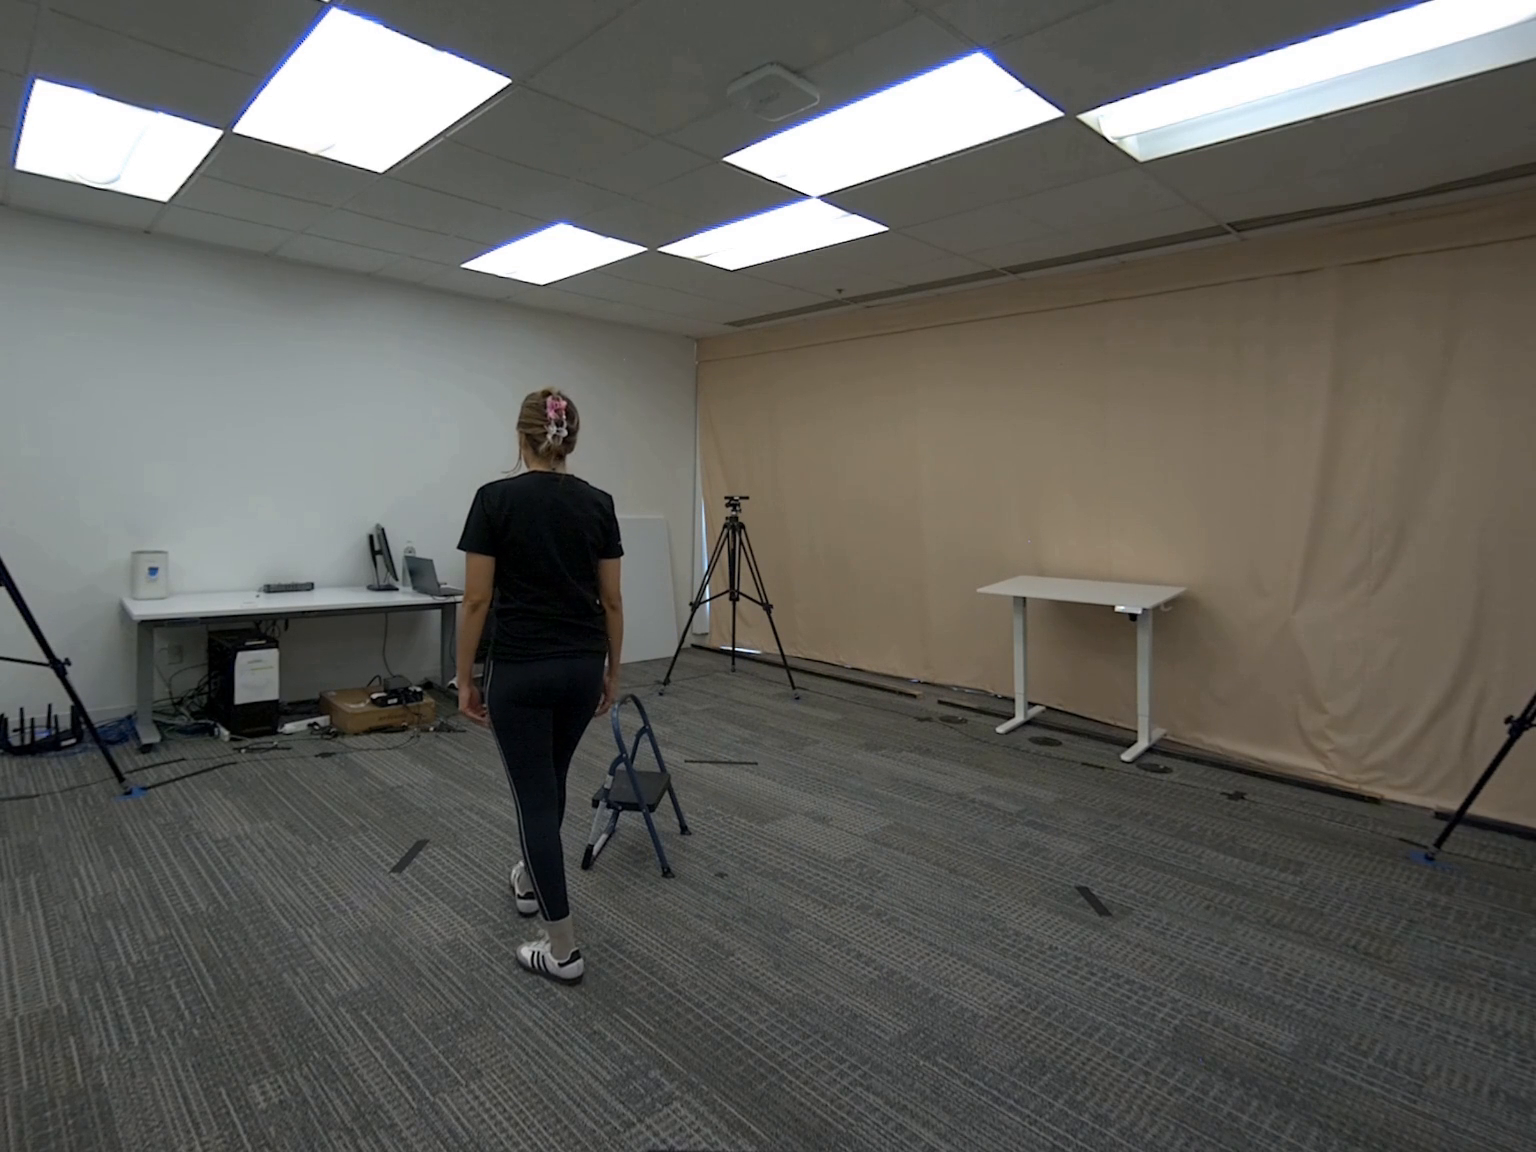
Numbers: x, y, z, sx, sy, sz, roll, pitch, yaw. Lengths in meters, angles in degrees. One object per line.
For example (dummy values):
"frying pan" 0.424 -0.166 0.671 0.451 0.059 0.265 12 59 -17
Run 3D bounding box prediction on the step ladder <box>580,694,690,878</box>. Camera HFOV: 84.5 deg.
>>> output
"step ladder" -0.504 0.778 3.283 0.351 0.604 0.430 3 4 4
